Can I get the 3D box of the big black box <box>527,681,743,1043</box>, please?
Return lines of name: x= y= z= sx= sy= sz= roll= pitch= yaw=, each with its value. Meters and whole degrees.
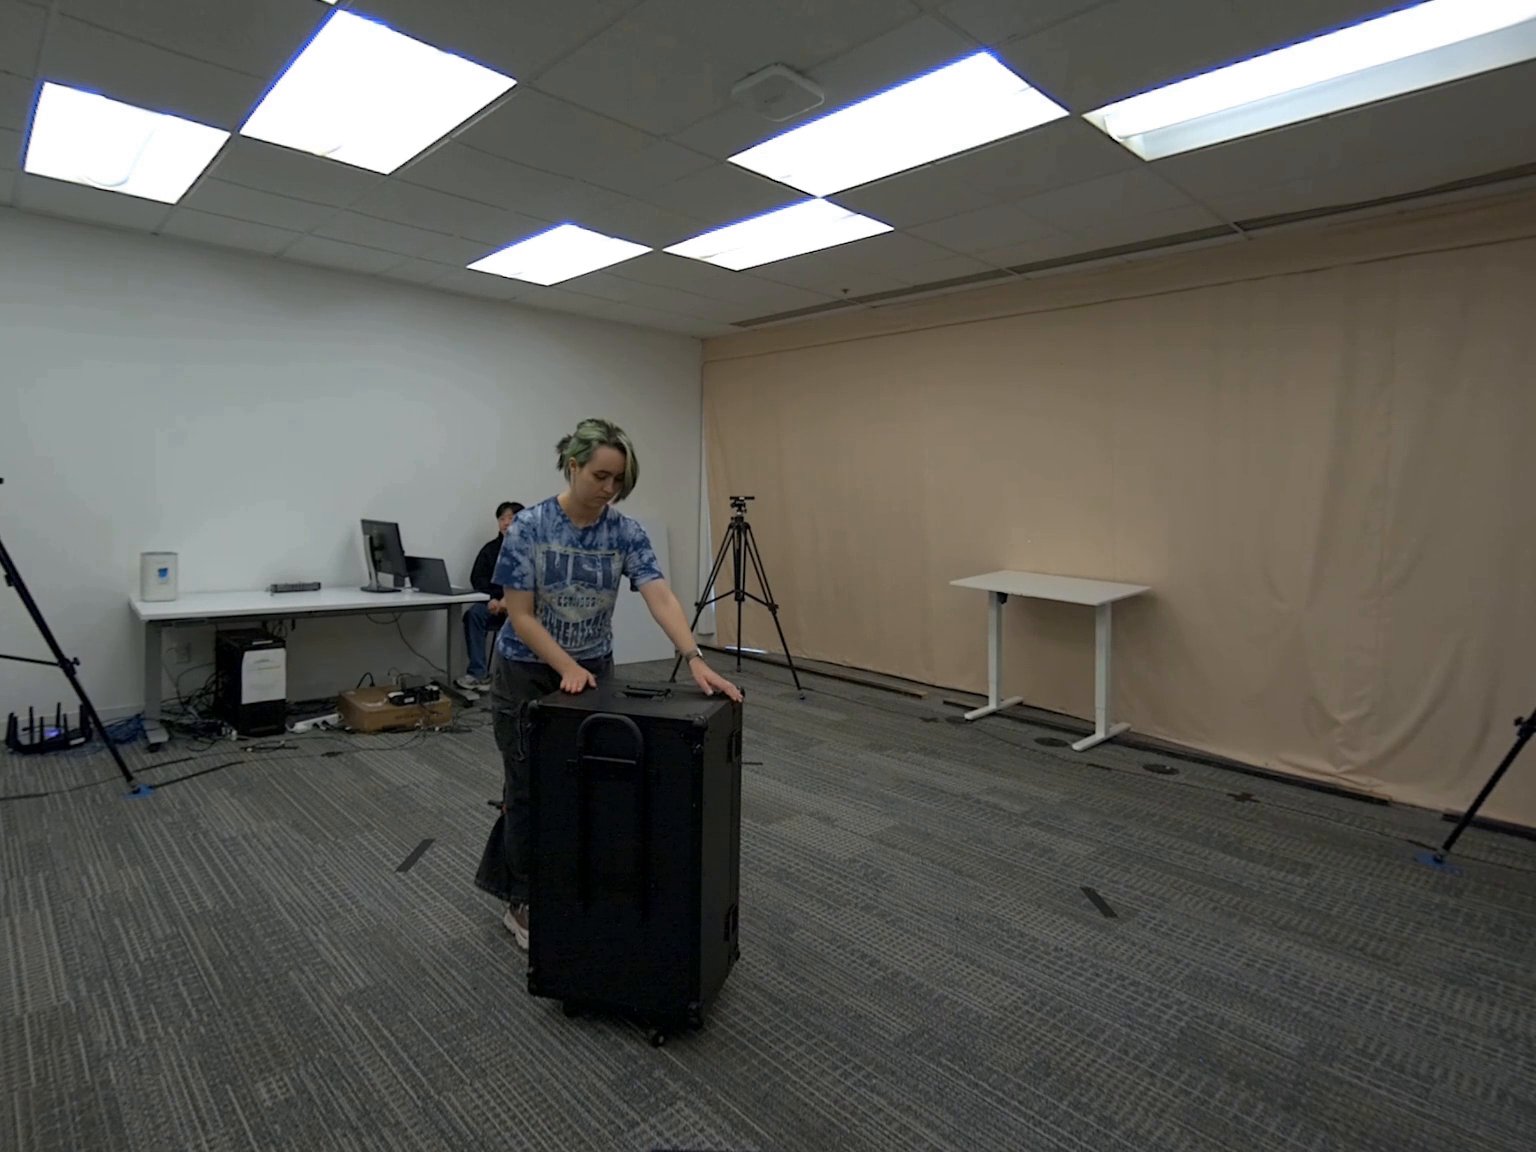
big black box: x=-0.354 y=0.753 z=2.276 sx=0.528 sy=0.858 sz=0.392 roll=2 pitch=5 yaw=16
